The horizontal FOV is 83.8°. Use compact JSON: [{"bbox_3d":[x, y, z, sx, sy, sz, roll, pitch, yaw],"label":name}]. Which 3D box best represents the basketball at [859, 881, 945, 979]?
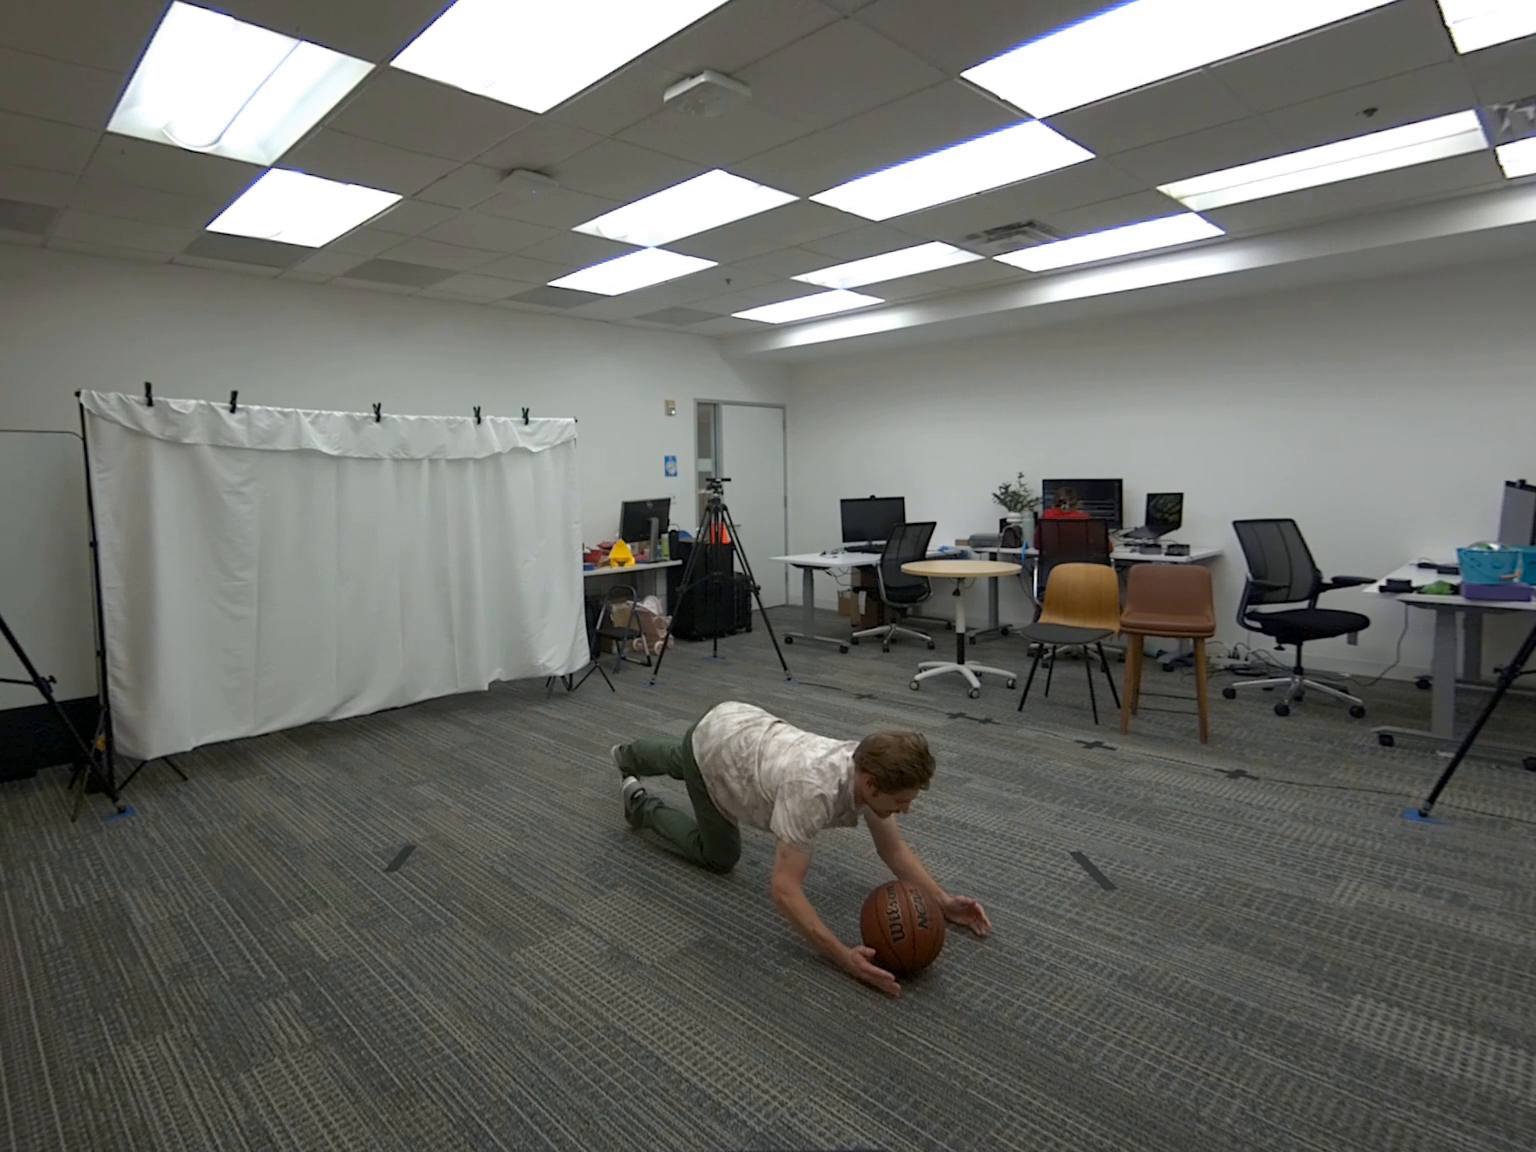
[{"bbox_3d":[0.384,0.989,2.425,0.236,0.235,0.237,-1,5,-2],"label":"basketball"}]
